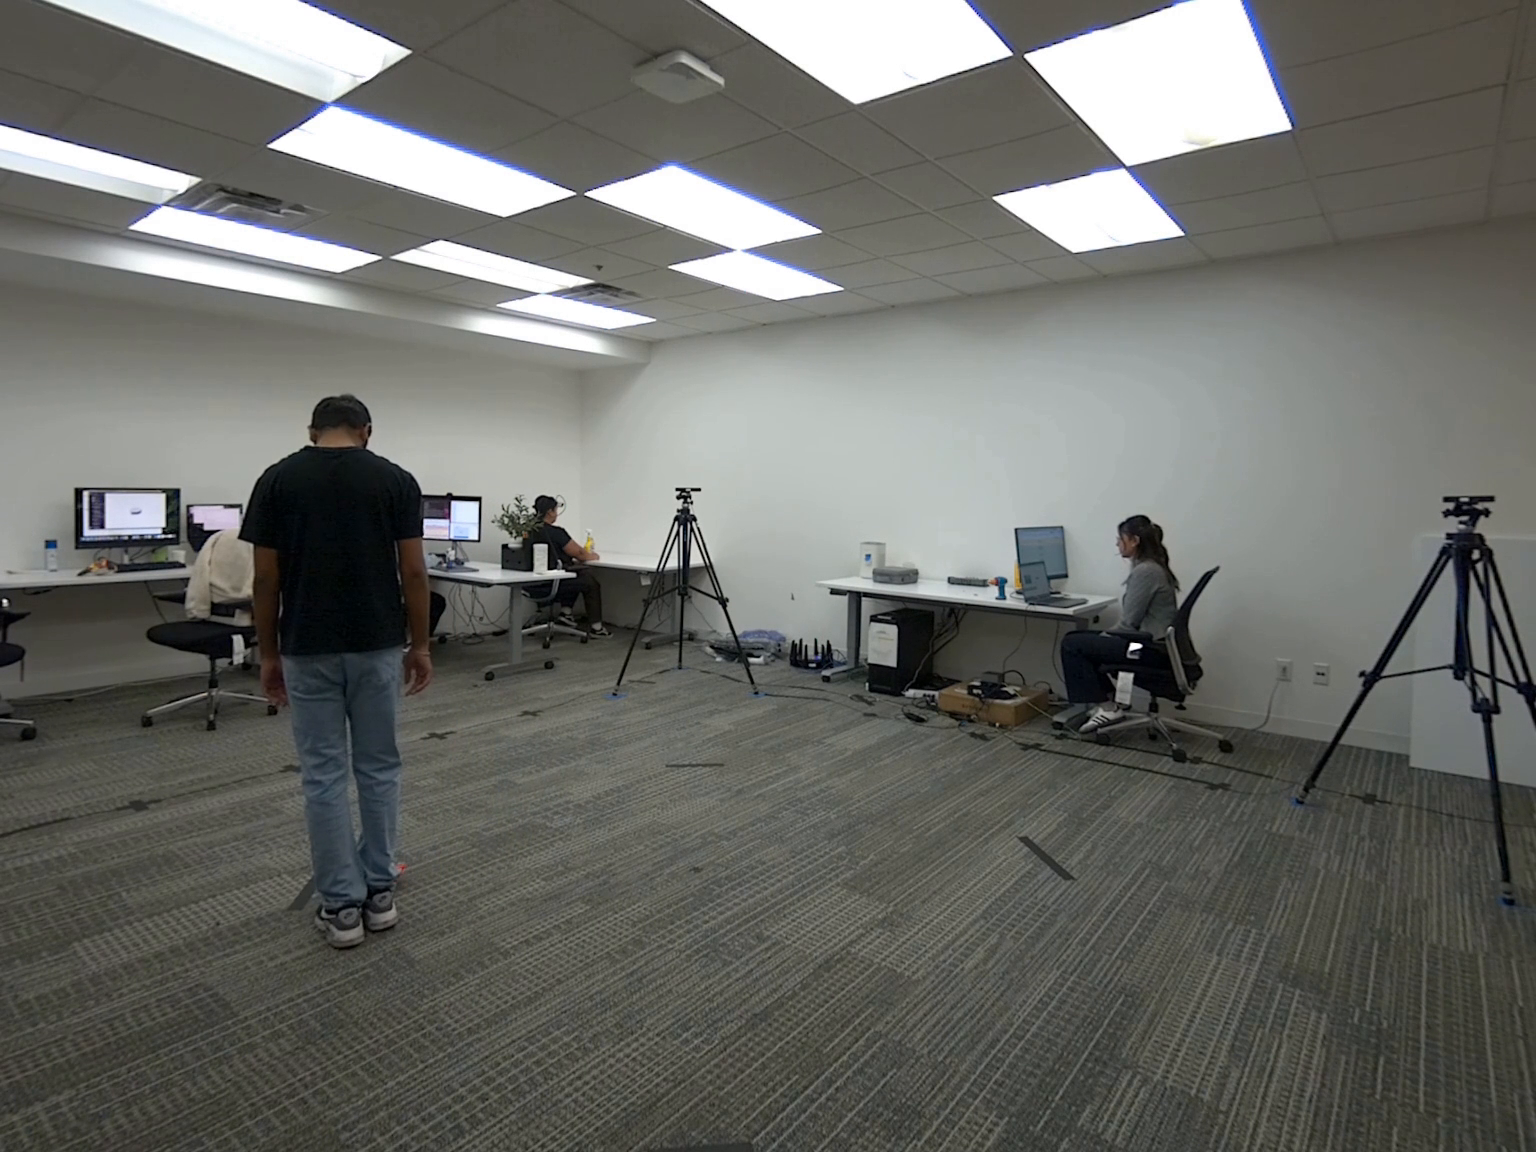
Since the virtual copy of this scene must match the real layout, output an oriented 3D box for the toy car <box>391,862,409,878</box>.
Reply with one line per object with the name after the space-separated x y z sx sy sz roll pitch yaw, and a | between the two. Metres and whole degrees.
-1.388 1.035 2.932 0.253 0.083 0.132 -10 5 -8 | toy car
